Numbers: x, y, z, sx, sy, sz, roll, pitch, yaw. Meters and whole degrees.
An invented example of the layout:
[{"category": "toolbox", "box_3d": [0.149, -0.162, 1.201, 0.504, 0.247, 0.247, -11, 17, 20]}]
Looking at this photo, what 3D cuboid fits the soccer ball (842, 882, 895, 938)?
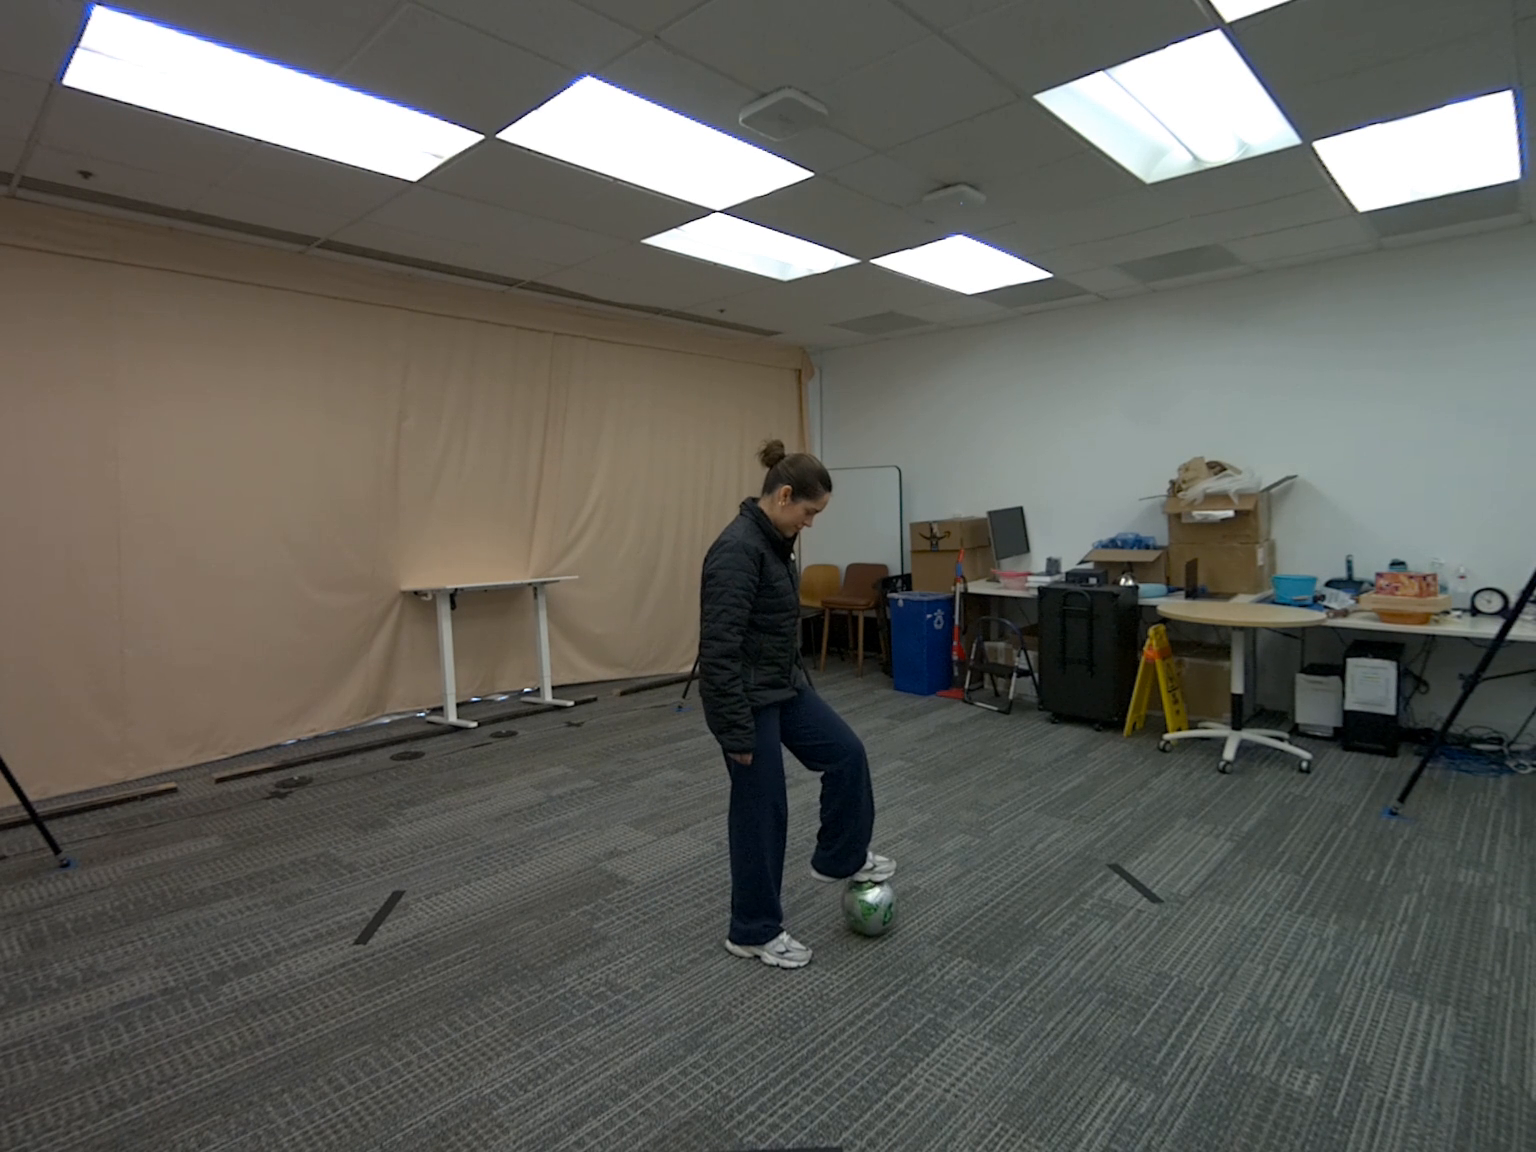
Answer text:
[{"category": "soccer ball", "box_3d": [0.330, 1.063, 2.739, 0.187, 0.187, 0.188, -1, 4, -2]}]
